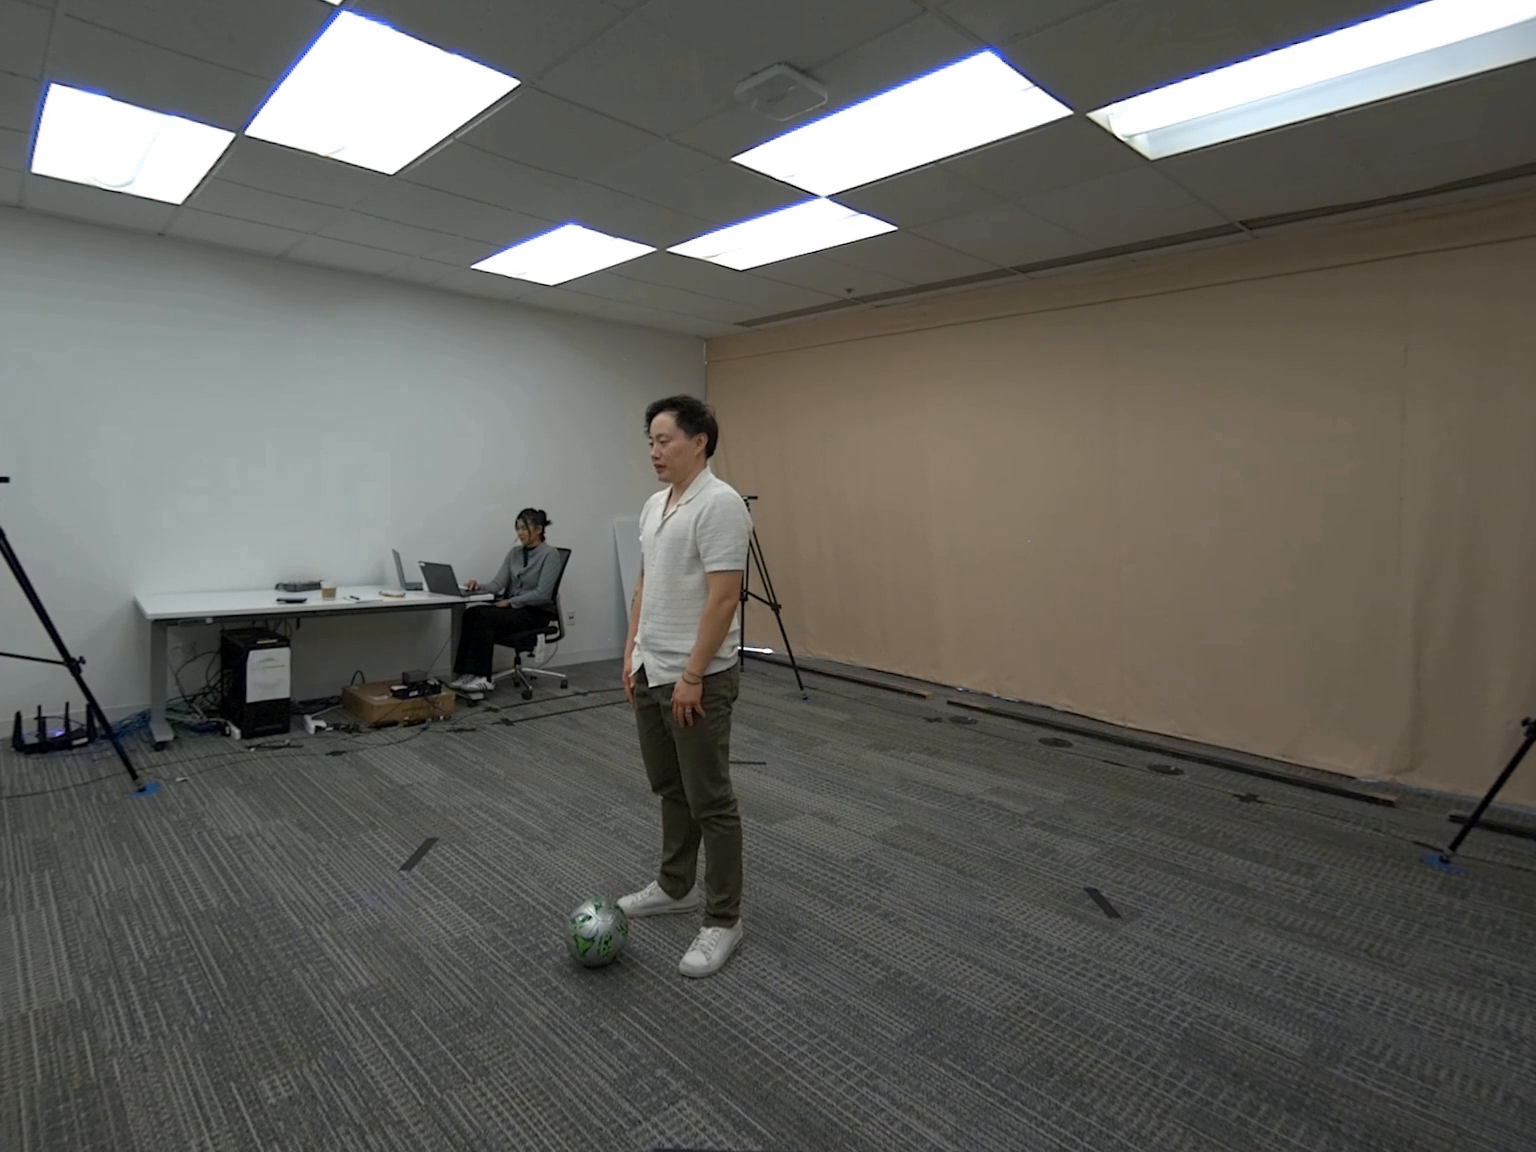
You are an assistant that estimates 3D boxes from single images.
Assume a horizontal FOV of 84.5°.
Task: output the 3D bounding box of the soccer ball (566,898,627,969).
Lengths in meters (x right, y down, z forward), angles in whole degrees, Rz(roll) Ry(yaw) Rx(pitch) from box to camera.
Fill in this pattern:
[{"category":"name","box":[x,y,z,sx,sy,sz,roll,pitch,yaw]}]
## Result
[{"category":"soccer ball","box":[-0.517,1.058,2.492,0.187,0.187,0.188,1,4,-1]}]
